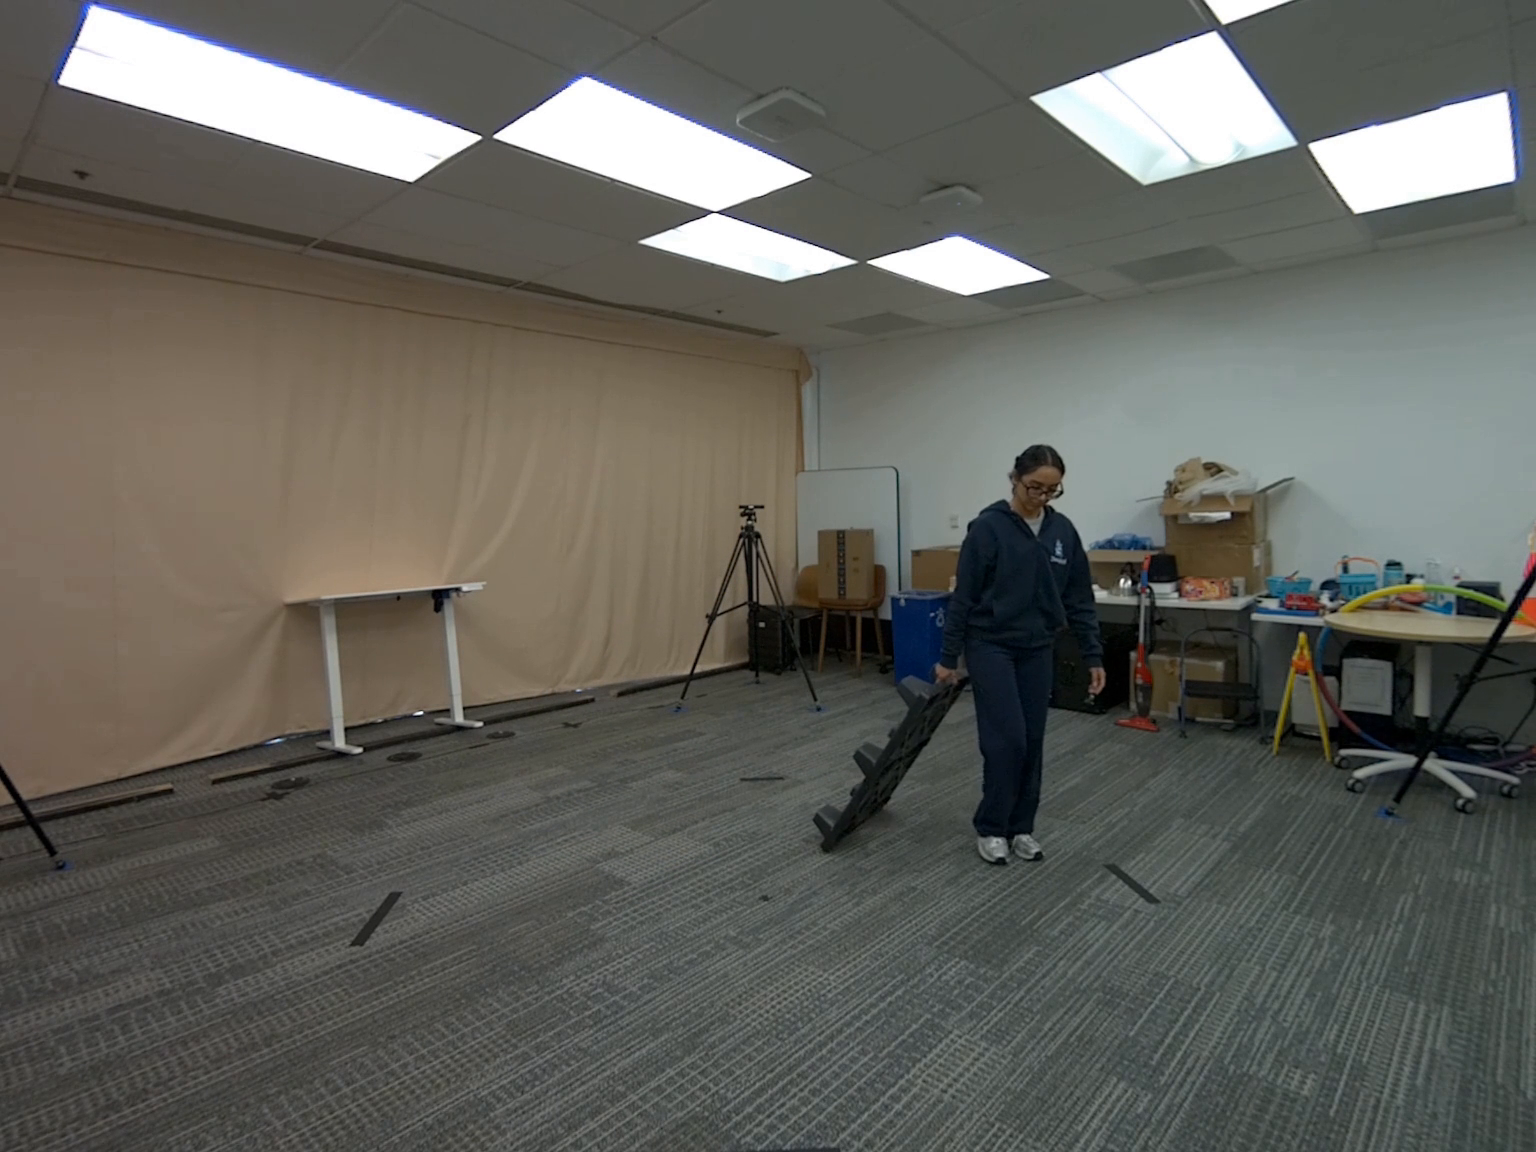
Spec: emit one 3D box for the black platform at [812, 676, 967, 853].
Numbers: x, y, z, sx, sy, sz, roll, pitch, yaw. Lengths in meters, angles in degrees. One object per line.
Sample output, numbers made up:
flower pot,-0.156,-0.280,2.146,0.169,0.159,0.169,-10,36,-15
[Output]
black platform,0.509,0.723,3.483,0.147,0.805,0.589,37,21,23
